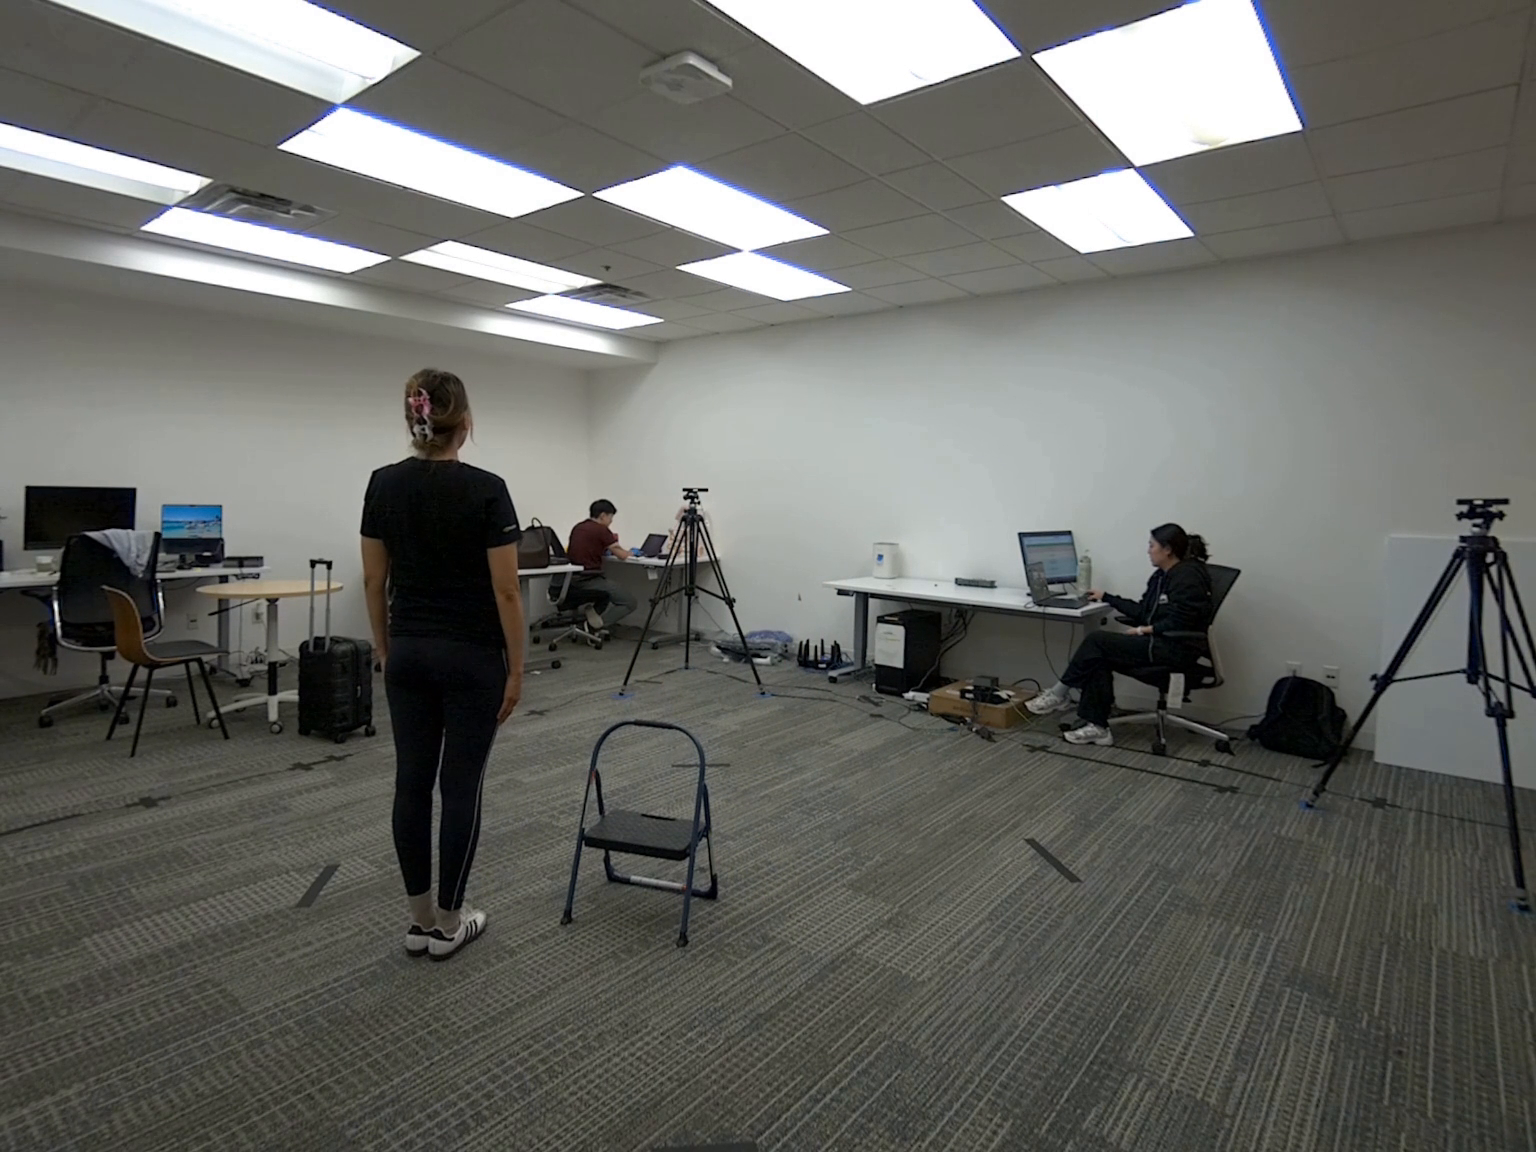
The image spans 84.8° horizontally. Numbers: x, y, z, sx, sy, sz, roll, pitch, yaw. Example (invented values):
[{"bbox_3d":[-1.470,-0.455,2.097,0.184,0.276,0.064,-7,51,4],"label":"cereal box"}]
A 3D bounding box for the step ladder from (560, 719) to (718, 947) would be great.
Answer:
[{"bbox_3d":[-0.416,0.792,2.788,0.439,0.604,0.344,2,4,16],"label":"step ladder"}]
